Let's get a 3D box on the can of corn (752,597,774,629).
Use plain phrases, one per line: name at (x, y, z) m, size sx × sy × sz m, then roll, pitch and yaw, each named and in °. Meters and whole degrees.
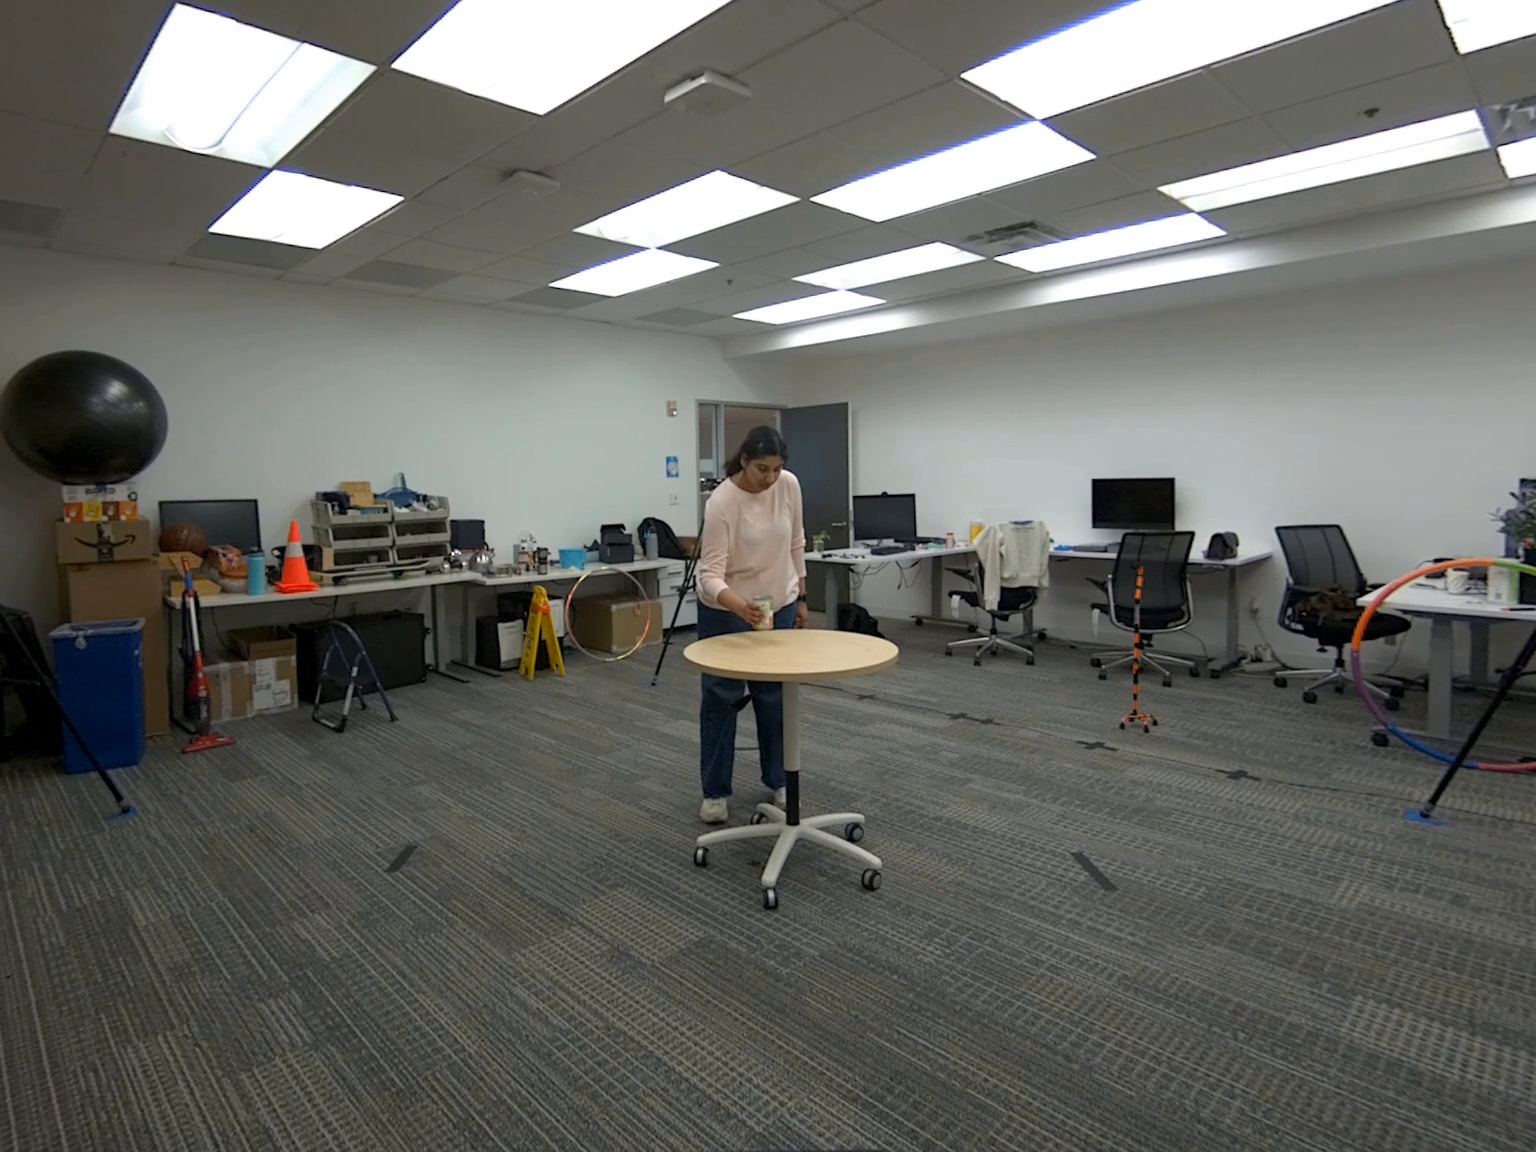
can of corn at (-0.032, 0.137, 3.134) m, size 0.074 × 0.110 × 0.074 m, roll -2°, pitch 5°, yaw -1°
